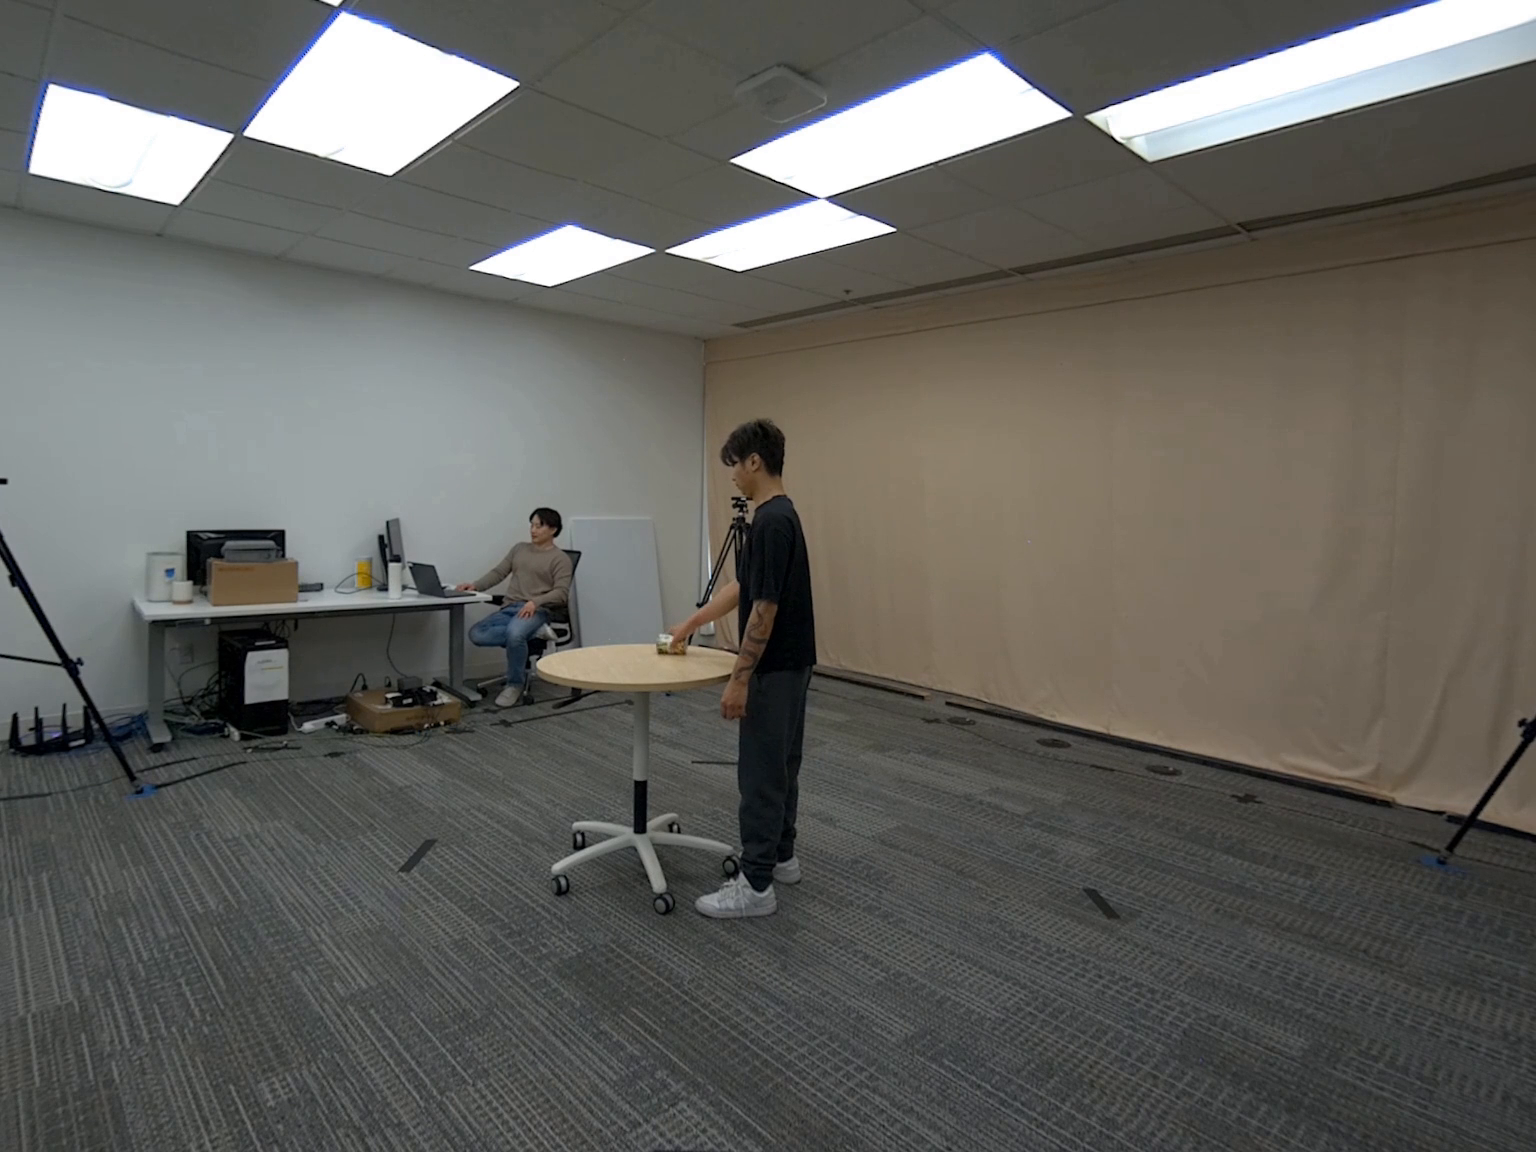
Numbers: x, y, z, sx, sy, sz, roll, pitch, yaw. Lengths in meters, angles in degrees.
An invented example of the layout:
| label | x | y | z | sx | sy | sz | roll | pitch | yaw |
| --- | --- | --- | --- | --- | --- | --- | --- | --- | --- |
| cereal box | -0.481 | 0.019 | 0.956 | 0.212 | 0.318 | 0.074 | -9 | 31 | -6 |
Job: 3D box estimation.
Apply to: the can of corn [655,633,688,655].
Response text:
| label | x | y | z | sx | sy | sz | roll | pitch | yaw |
| --- | --- | --- | --- | --- | --- | --- | --- | --- | --- |
| can of corn | -0.380 | 0.262 | 3.277 | 0.111 | 0.074 | 0.074 | 5 | 4 | 3 |
